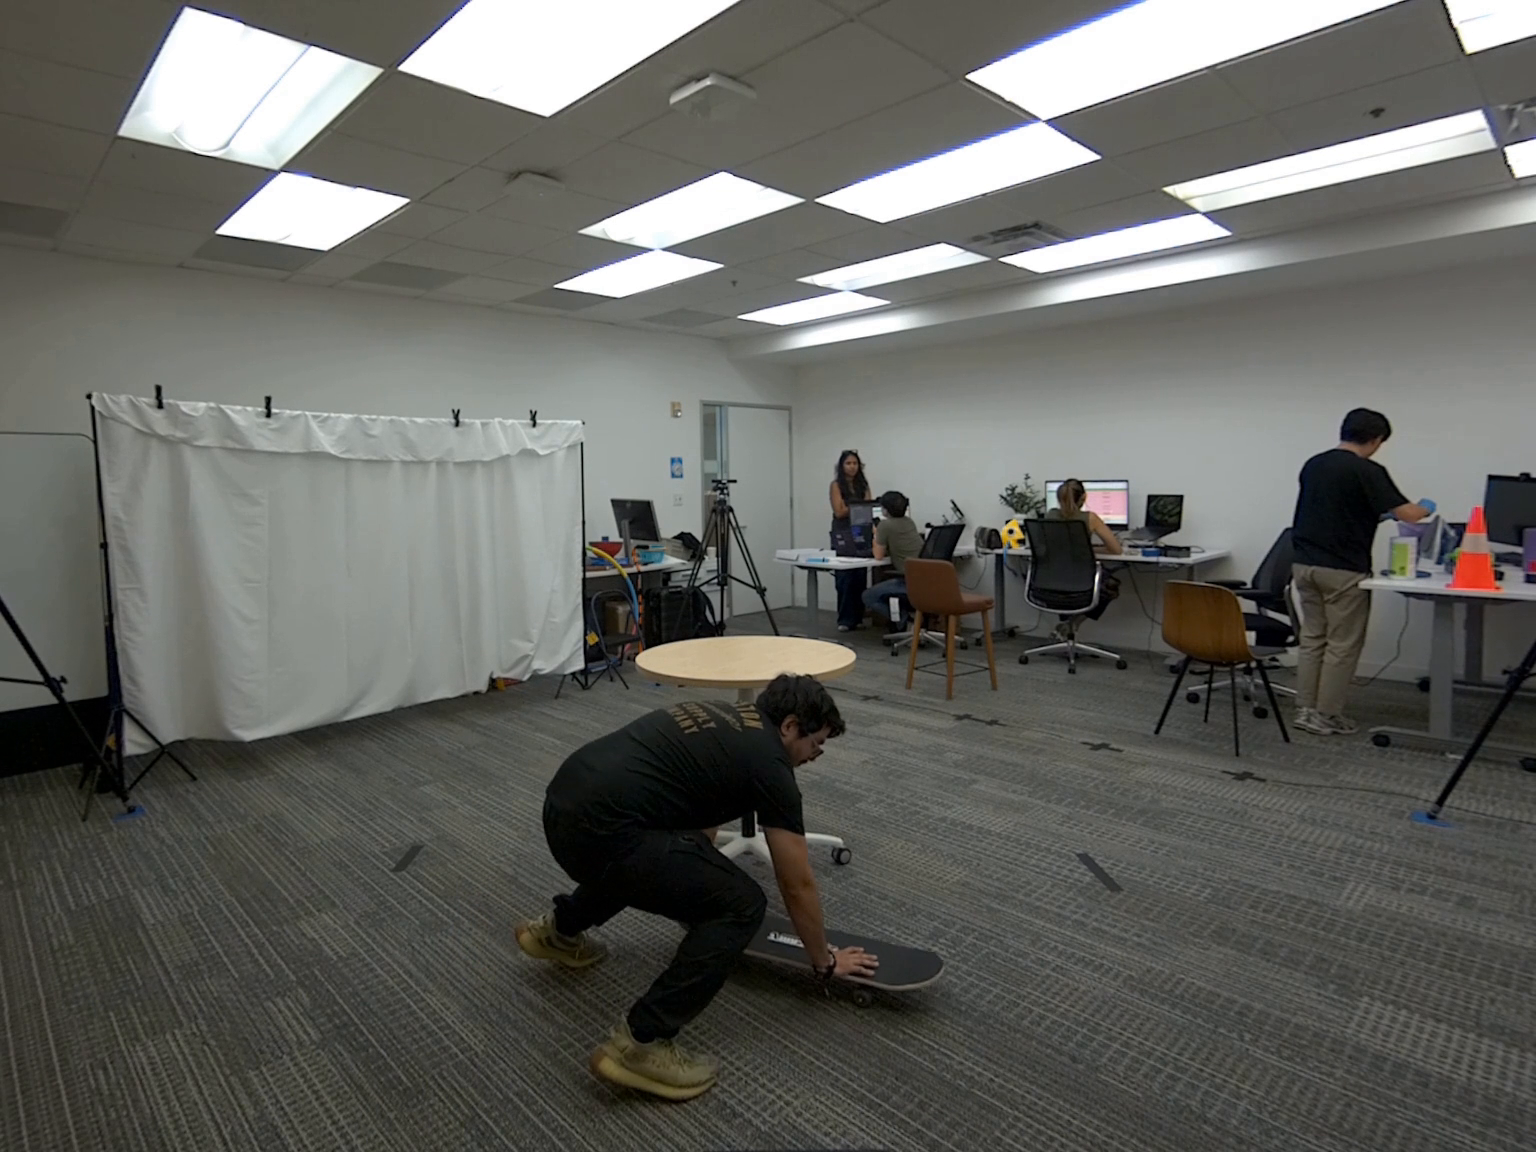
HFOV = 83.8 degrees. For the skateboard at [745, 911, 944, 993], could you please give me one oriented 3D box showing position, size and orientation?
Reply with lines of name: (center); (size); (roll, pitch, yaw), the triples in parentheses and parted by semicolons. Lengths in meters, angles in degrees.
skateboard: (0.099, 1.062, 2.422); (0.804, 0.109, 0.190); (2, 9, 27)
